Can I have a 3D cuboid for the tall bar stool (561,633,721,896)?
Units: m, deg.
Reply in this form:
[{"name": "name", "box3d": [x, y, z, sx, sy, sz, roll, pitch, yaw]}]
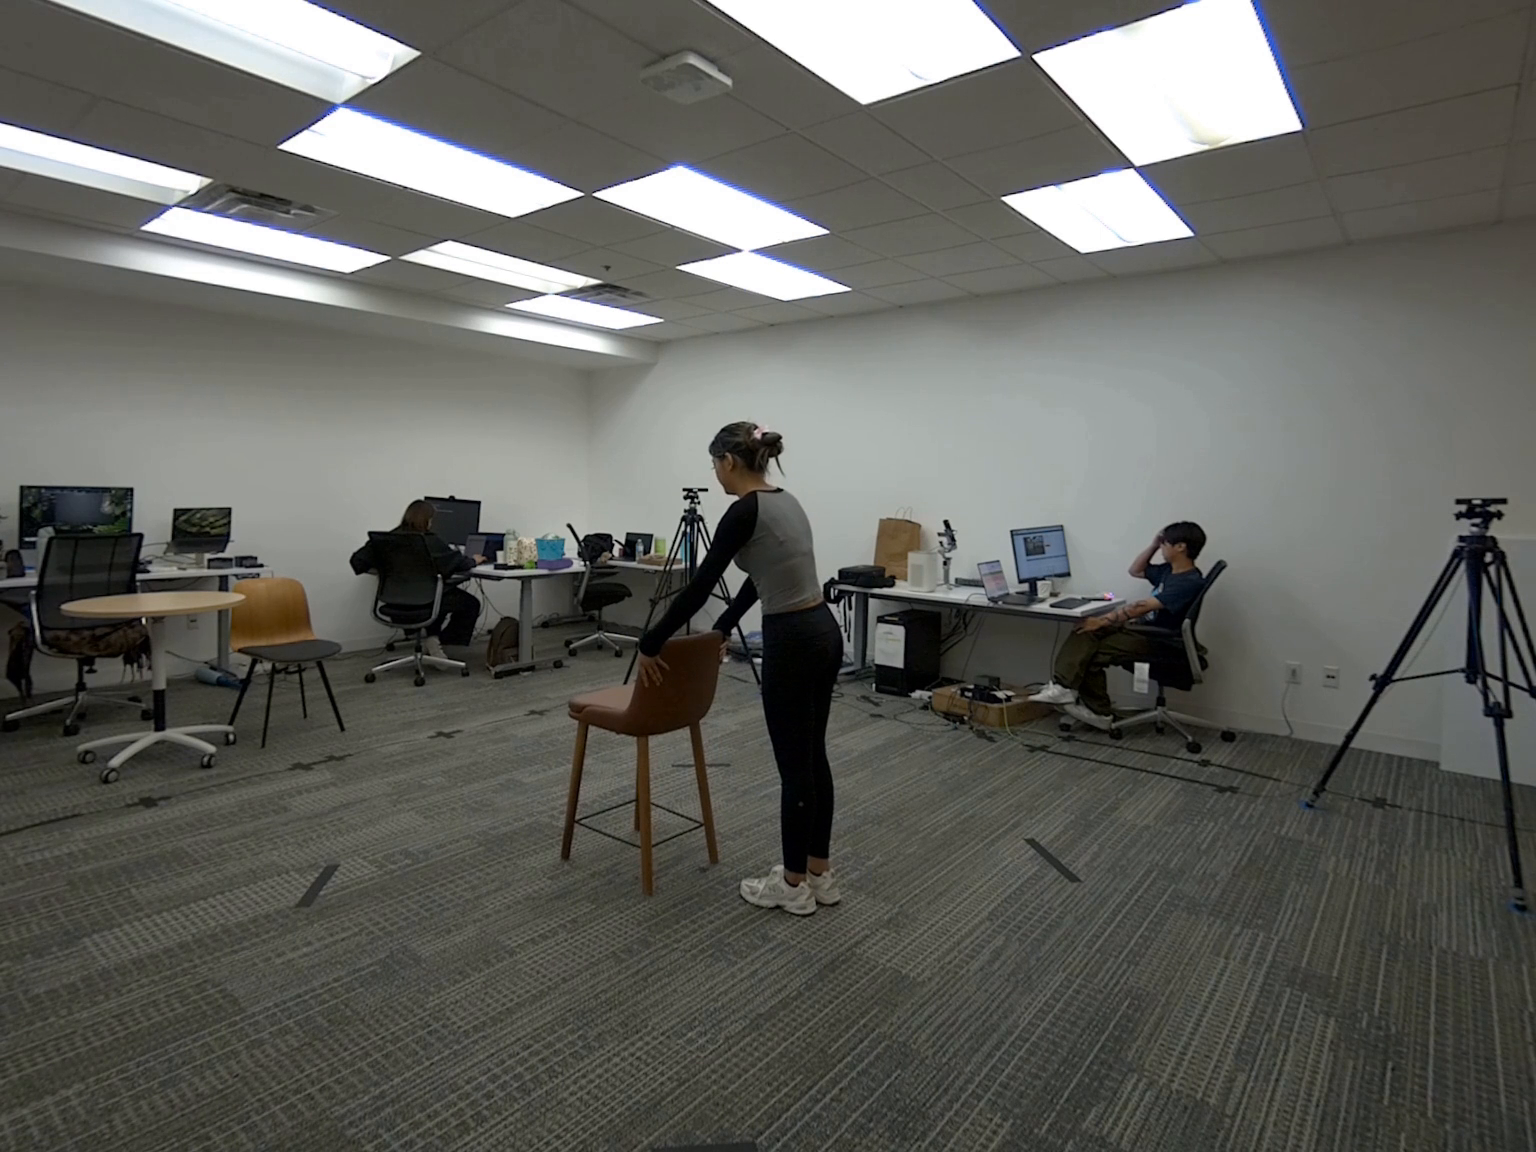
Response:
[{"name": "tall bar stool", "box3d": [-0.470, 0.623, 3.155, 0.484, 0.886, 0.443, 6, 5, 39]}]
